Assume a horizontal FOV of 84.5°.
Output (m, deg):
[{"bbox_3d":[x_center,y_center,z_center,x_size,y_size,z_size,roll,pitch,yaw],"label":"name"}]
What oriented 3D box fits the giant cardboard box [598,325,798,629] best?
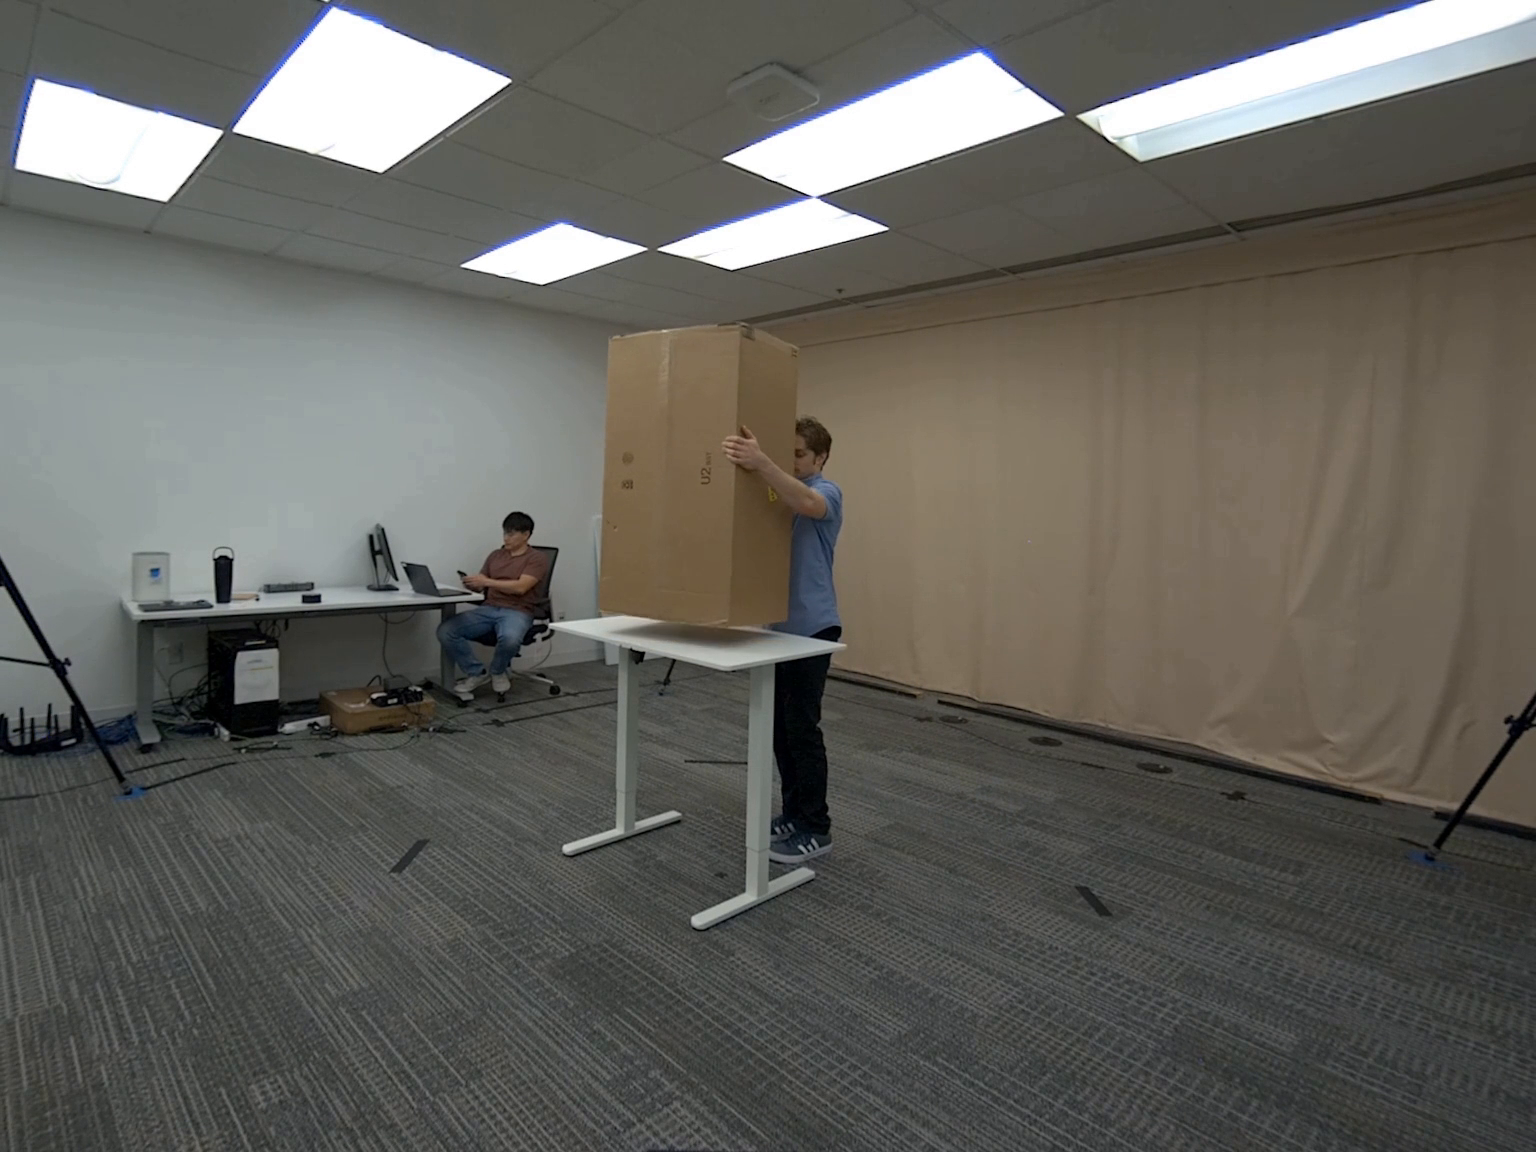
[{"bbox_3d":[-0.258,-0.352,3.116,0.590,1.026,0.417,3,0,31],"label":"giant cardboard box"}]
